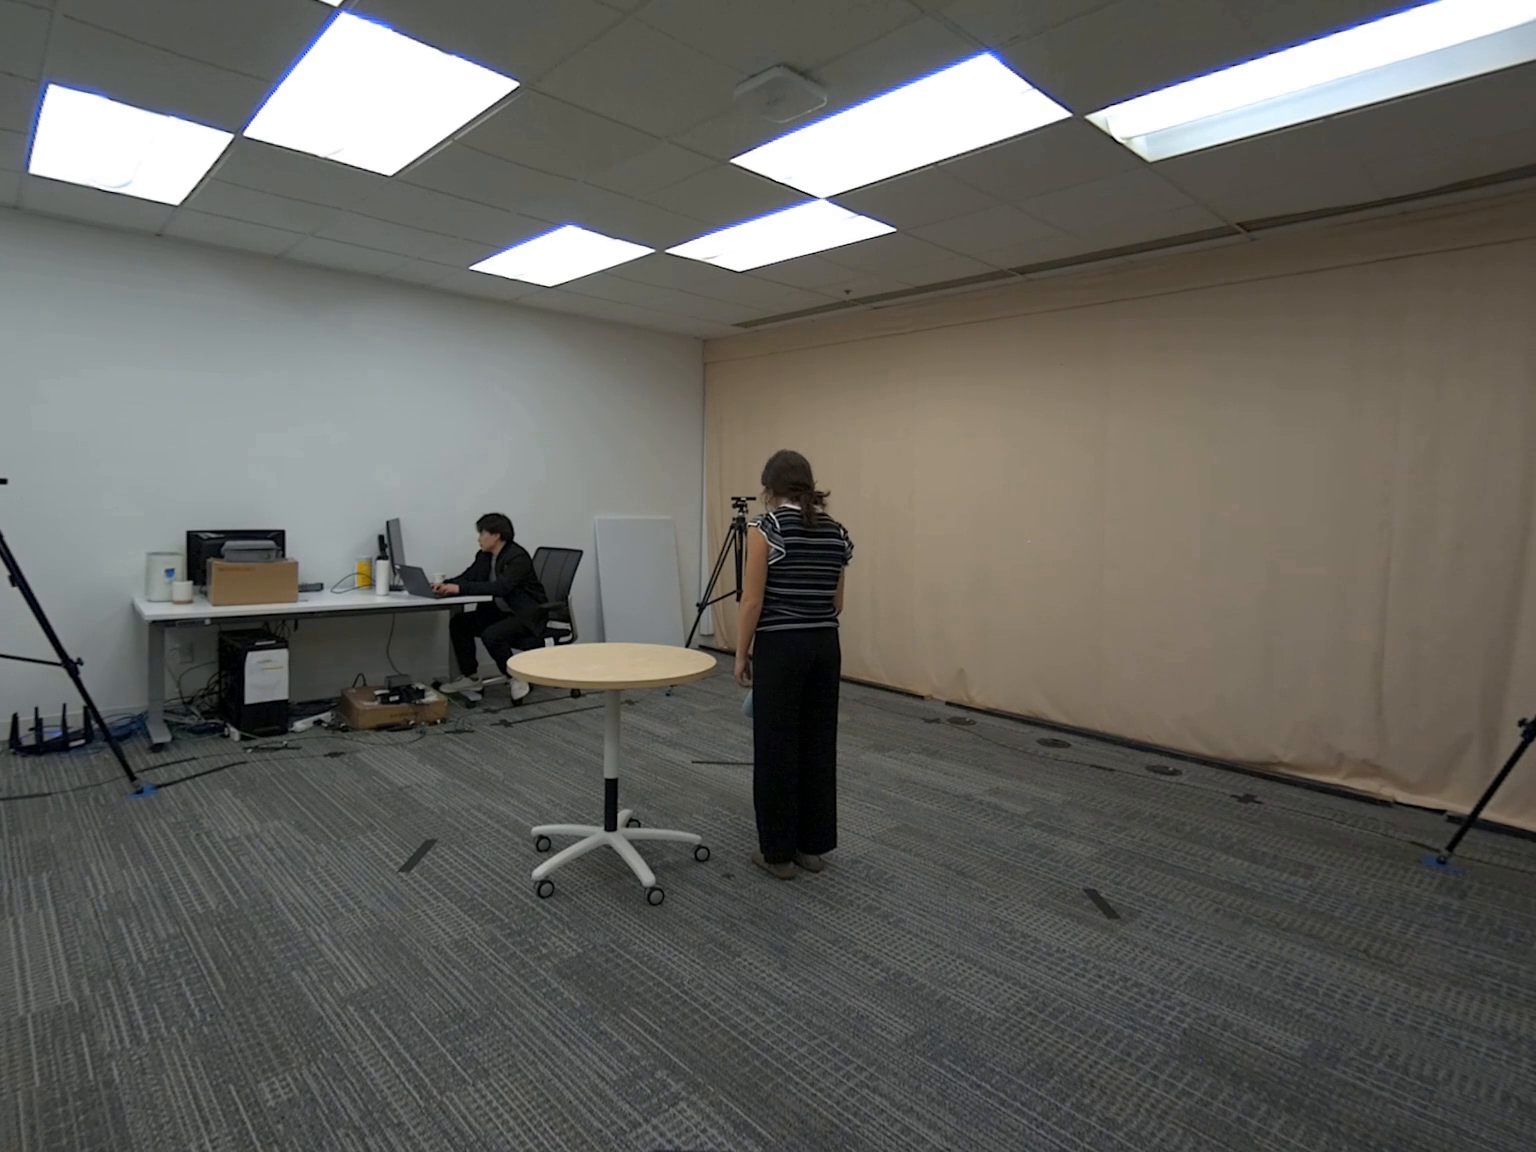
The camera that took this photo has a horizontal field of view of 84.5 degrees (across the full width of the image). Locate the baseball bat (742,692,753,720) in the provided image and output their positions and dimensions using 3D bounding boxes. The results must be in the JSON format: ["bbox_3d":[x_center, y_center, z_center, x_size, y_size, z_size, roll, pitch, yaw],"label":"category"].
[{"bbox_3d":[-0.003,0.442,3.574,0.087,0.091,0.538,1,-36,-21],"label":"baseball bat"}]
